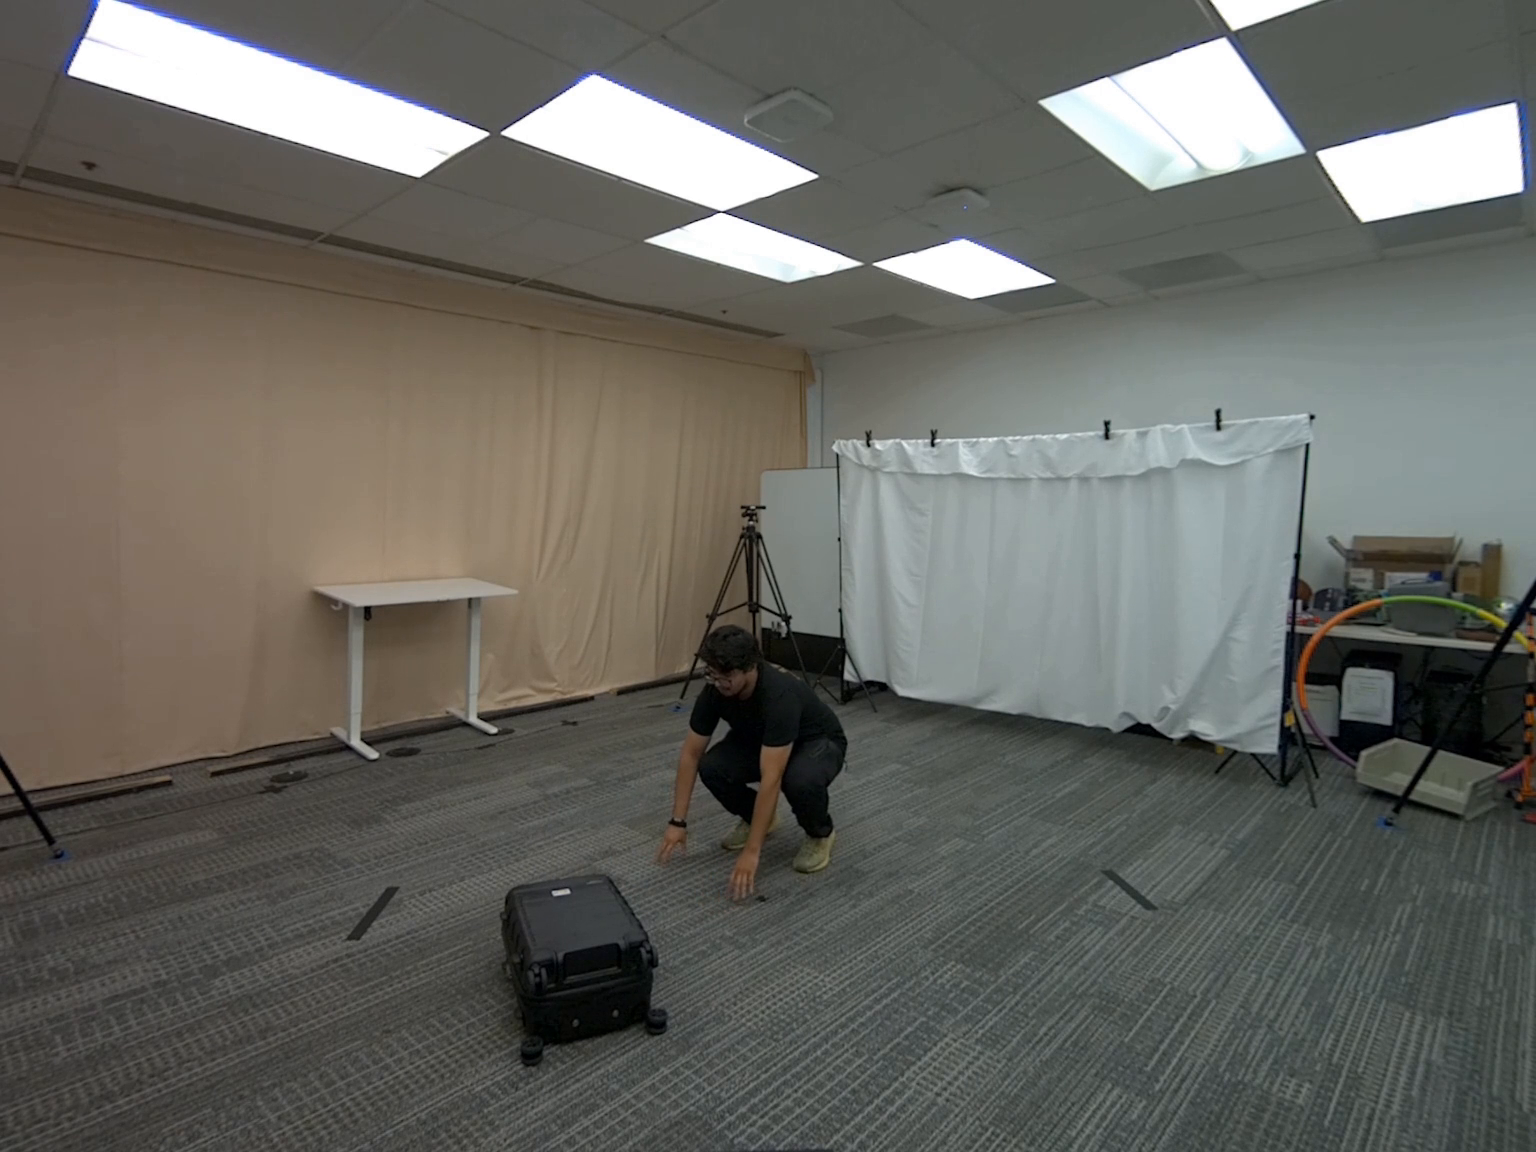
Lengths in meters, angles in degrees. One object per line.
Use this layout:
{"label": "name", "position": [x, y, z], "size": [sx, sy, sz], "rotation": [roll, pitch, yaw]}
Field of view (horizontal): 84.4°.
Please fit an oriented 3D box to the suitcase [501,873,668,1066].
{"label": "suitcase", "position": [-0.636, 1.056, 2.593], "size": [0.375, 0.256, 1.004], "rotation": [-3, 6, -24]}
